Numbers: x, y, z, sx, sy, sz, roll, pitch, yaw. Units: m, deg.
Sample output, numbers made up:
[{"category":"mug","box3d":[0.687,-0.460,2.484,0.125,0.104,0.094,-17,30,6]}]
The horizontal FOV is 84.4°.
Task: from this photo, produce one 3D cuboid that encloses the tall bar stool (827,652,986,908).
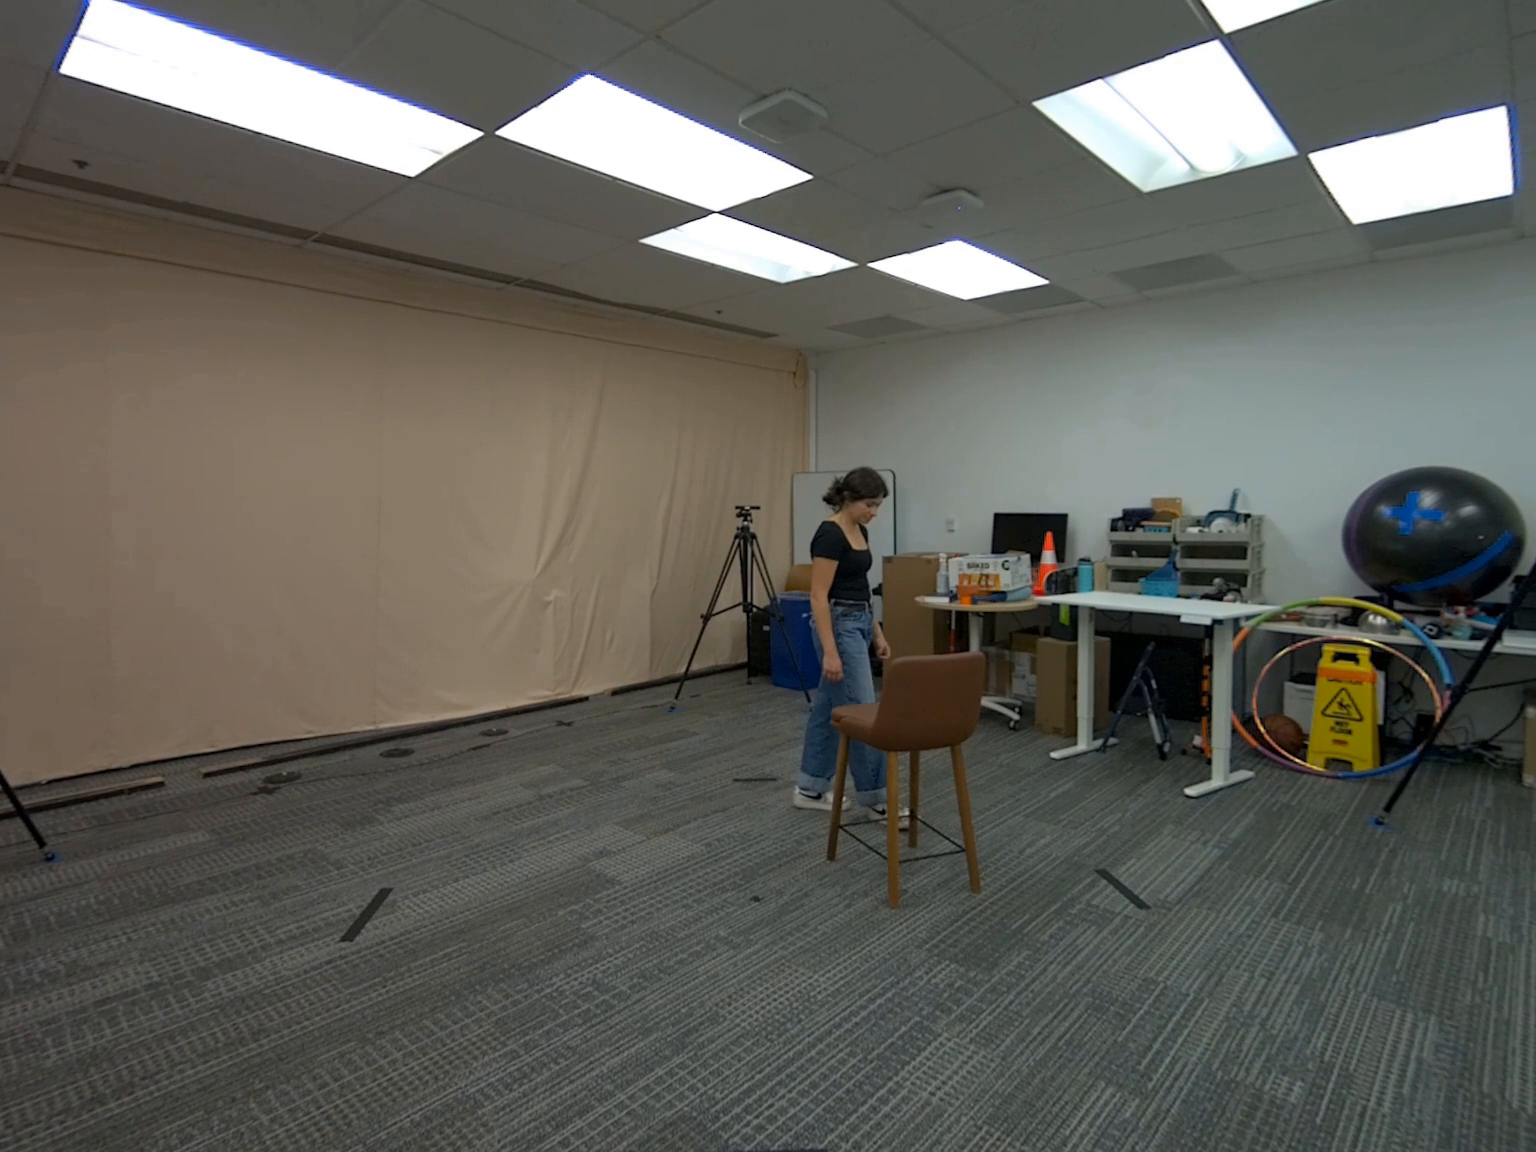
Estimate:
[{"category":"tall bar stool","box3d":[0.515,0.693,3.153,0.446,0.887,0.479,-1,5,-24]}]
